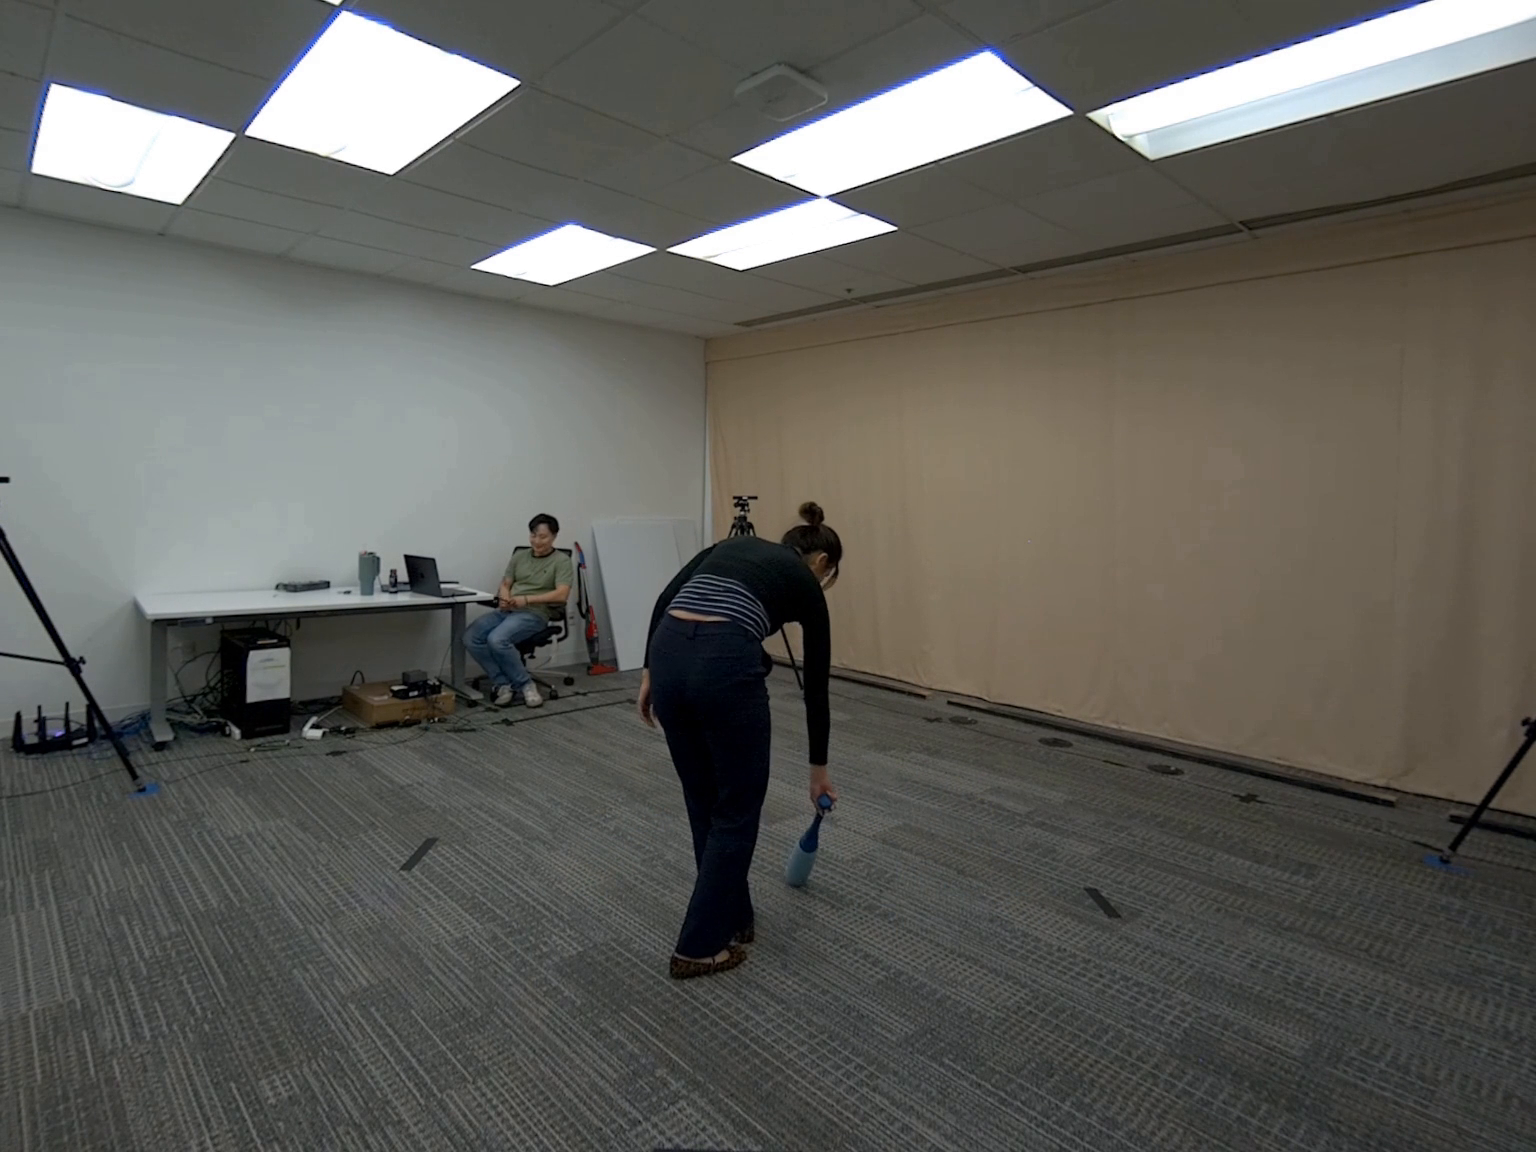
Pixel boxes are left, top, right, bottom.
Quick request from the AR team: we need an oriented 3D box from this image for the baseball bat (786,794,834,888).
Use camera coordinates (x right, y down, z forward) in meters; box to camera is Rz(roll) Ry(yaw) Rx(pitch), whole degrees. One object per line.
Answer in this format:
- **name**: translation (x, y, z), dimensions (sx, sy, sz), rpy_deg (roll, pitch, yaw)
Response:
- **baseball bat**: translation (0.140, 0.909, 2.862), dimensions (0.088, 0.534, 0.091), rpy_deg (6, 45, -8)
